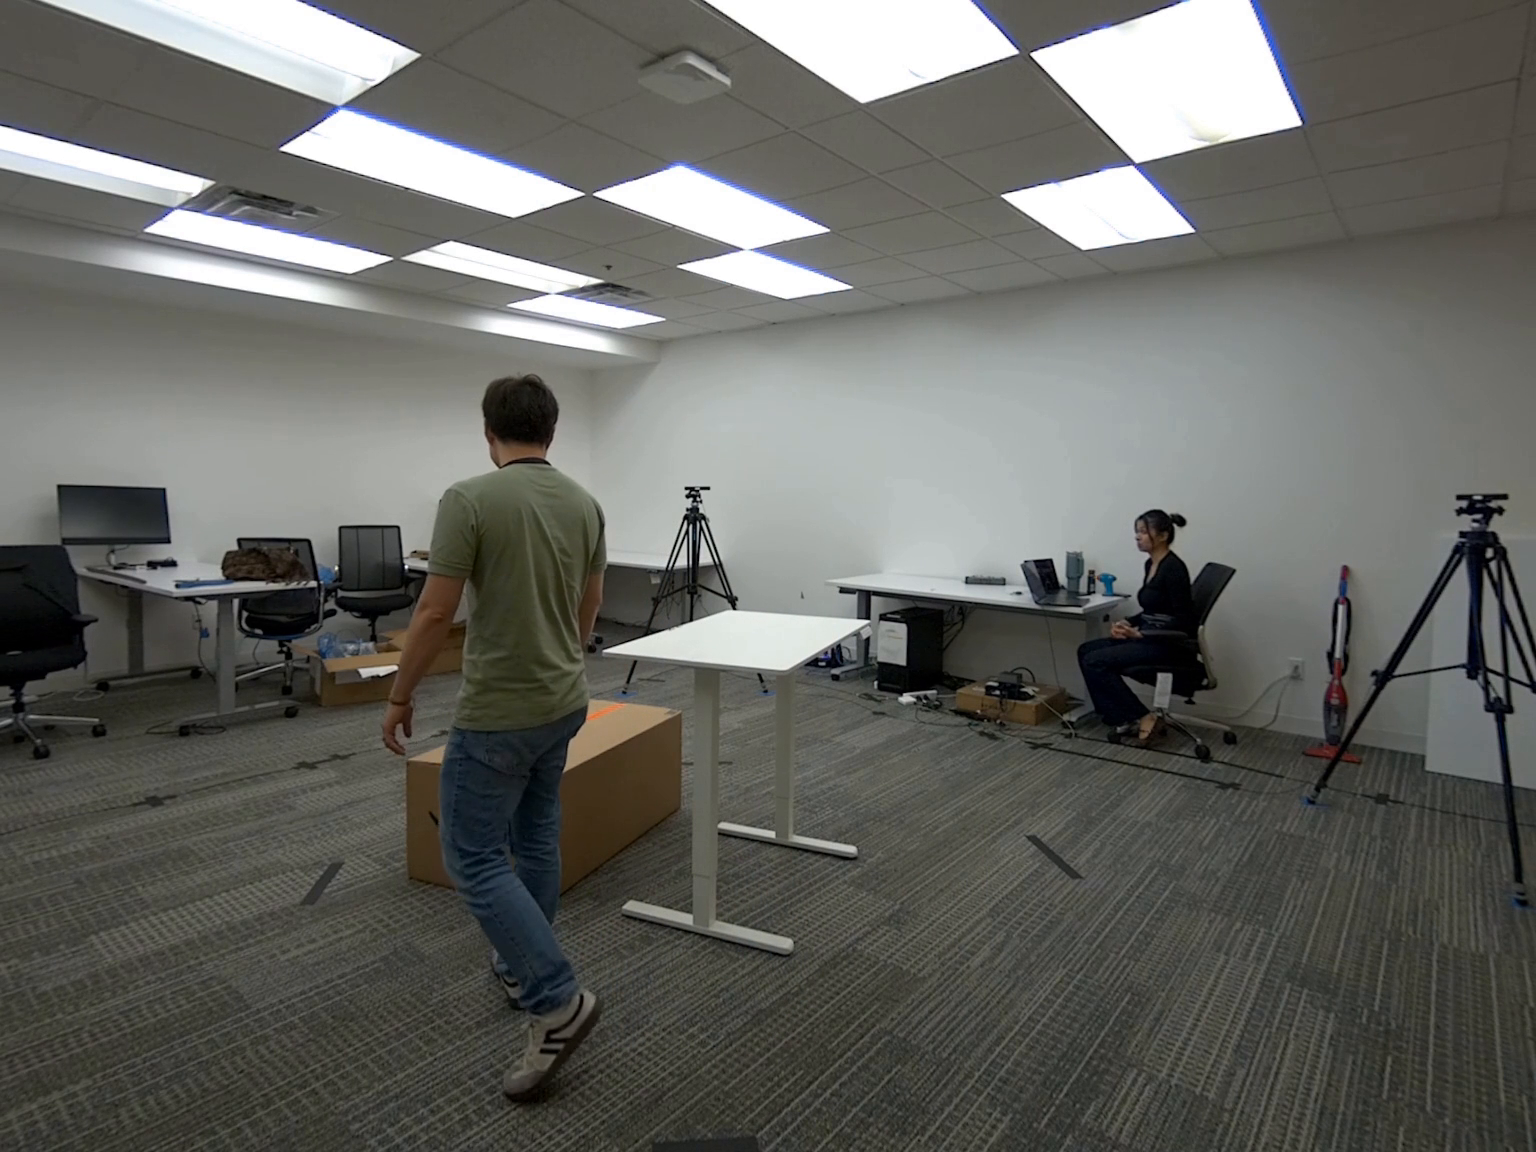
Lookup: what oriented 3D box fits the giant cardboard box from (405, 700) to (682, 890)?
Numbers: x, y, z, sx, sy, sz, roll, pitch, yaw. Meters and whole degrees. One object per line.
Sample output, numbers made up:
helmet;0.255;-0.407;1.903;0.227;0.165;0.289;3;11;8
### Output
giant cardboard box;-0.833;0.820;3.335;0.591;0.425;1.006;2;5;22
